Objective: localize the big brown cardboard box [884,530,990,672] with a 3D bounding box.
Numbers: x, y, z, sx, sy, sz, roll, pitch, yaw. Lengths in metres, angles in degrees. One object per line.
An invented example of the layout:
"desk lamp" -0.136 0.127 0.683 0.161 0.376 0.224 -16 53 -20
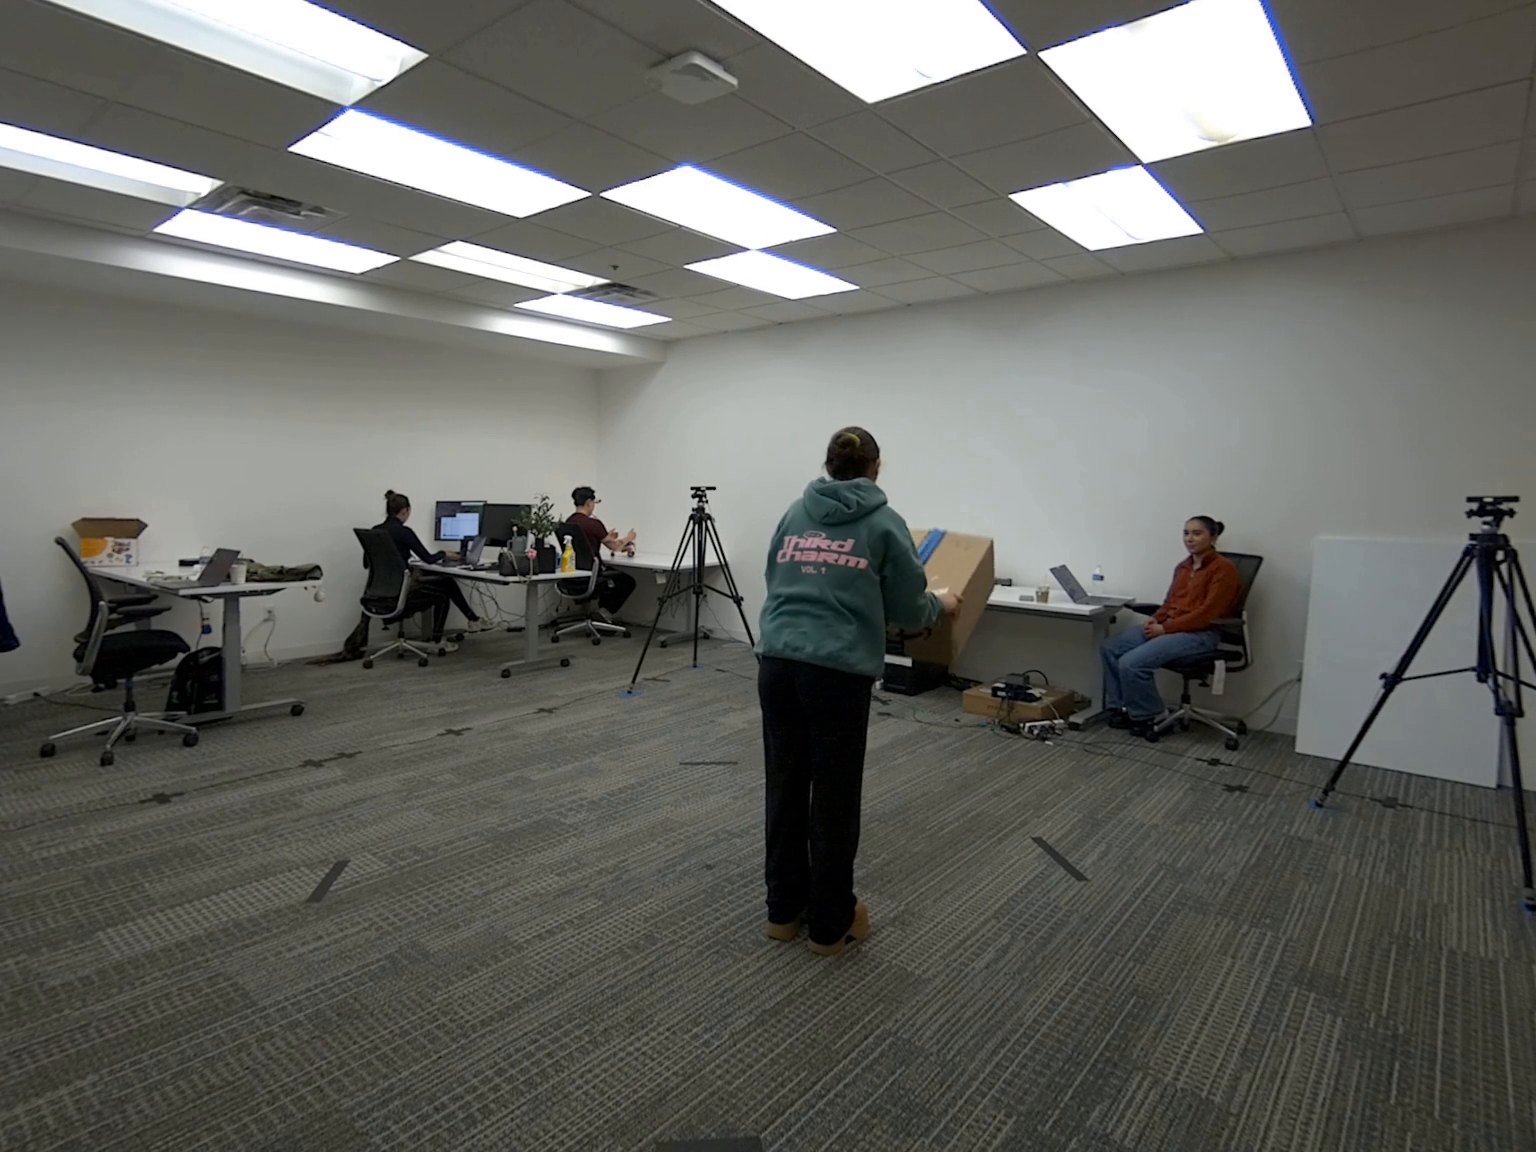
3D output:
"big brown cardboard box" 0.535 0.062 3.113 0.430 0.227 0.587 6 29 27
